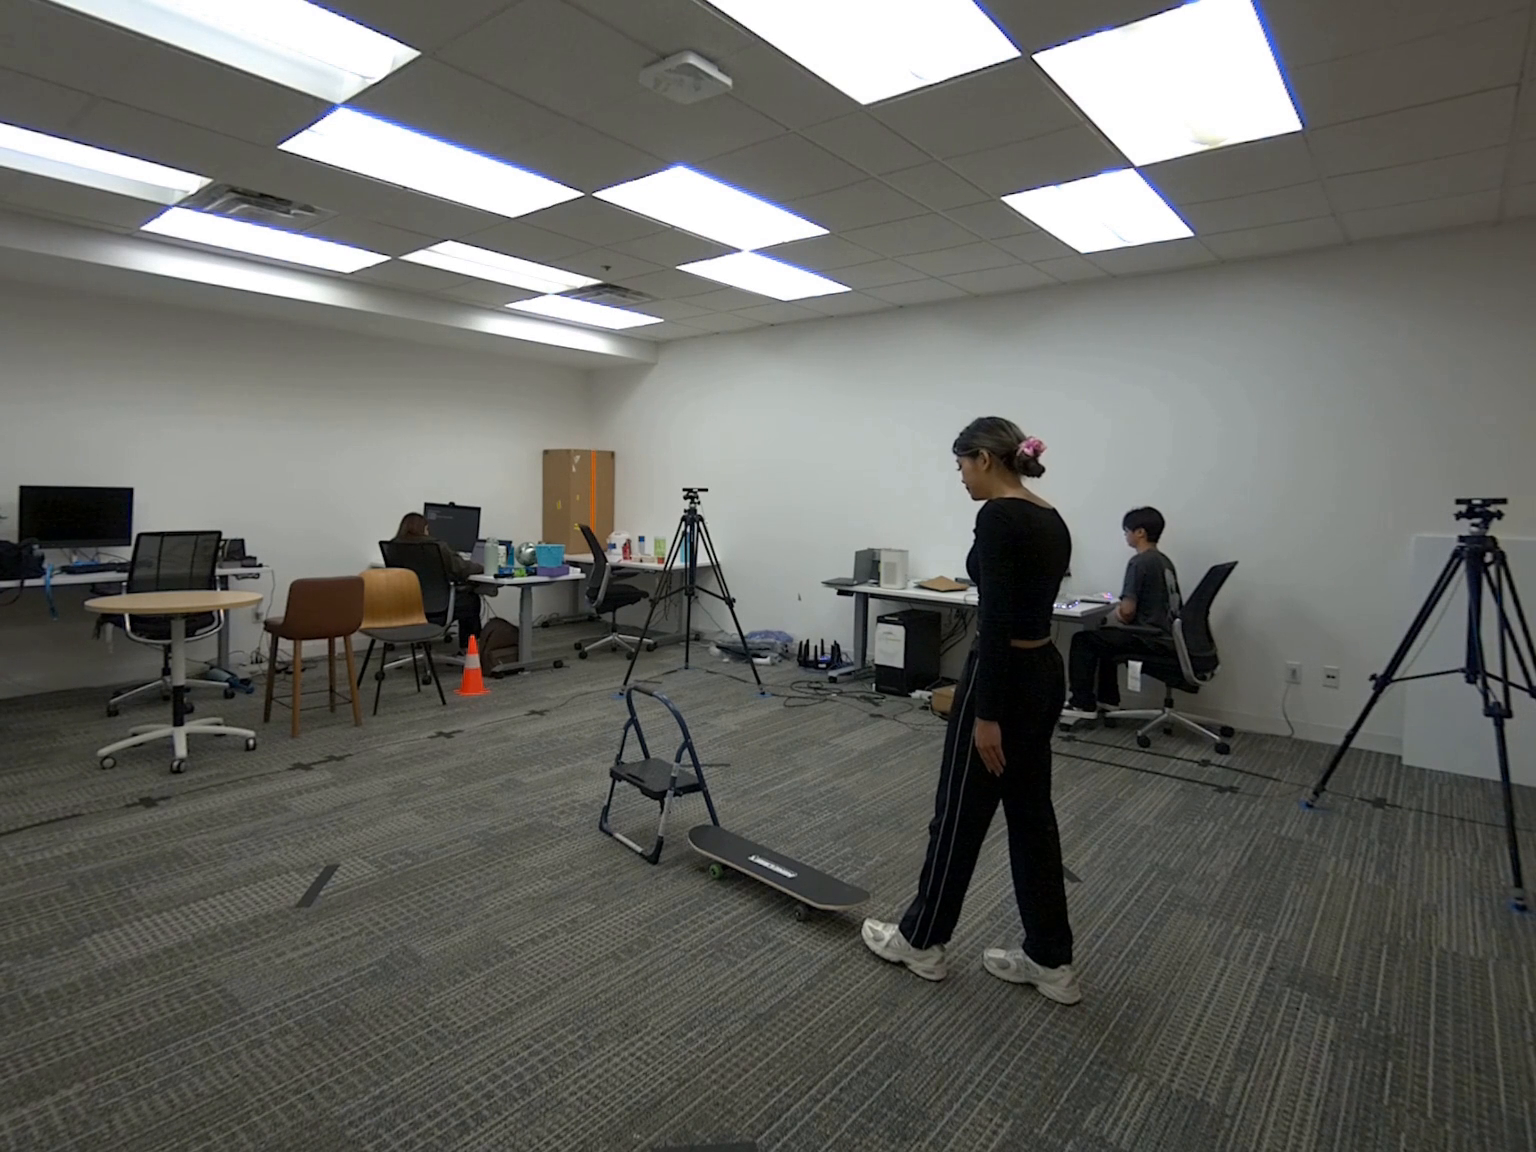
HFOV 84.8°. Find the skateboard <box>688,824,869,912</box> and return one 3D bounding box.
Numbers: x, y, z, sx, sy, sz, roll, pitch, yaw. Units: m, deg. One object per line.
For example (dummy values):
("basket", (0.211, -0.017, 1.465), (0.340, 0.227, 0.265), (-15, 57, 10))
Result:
("skateboard", (0.008, 1.035, 2.945), (0.813, 0.110, 0.188), (6, 8, 44))
